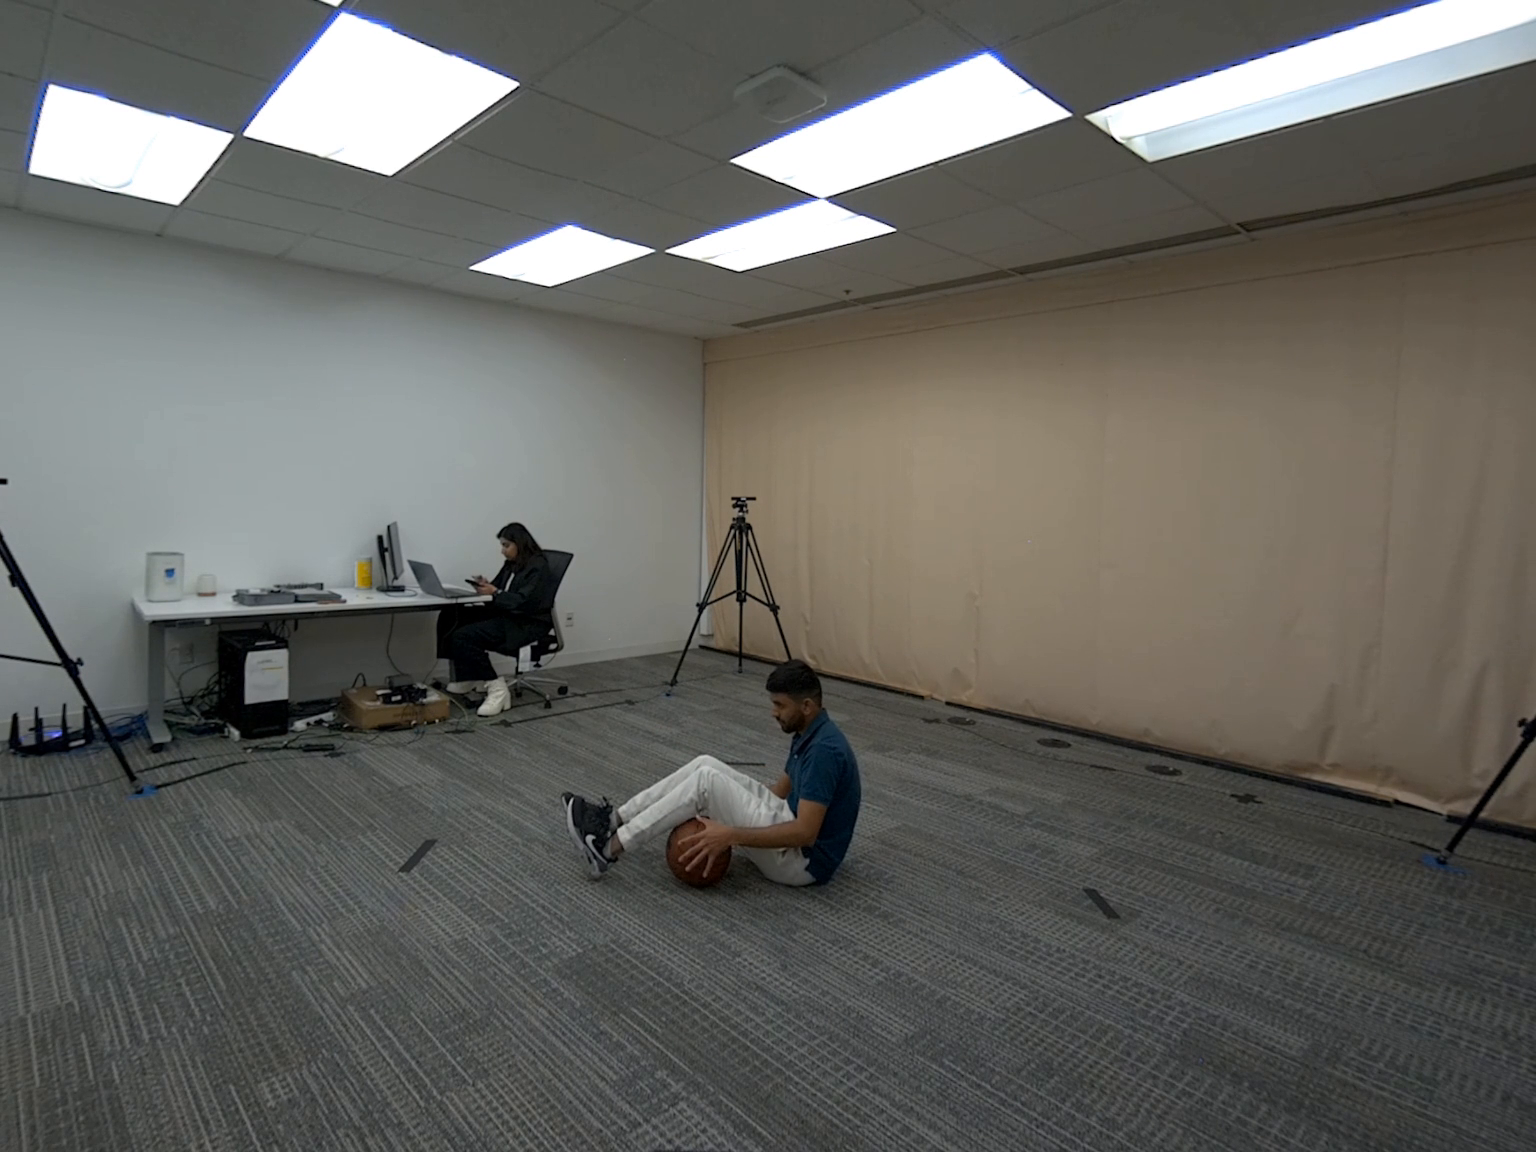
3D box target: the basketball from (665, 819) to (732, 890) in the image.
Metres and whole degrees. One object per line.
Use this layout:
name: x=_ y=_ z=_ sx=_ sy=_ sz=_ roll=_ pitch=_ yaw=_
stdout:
basketball: x=-0.253 y=0.989 z=3.020 sx=0.236 sy=0.235 sz=0.237 roll=1 pitch=4 yaw=-1
